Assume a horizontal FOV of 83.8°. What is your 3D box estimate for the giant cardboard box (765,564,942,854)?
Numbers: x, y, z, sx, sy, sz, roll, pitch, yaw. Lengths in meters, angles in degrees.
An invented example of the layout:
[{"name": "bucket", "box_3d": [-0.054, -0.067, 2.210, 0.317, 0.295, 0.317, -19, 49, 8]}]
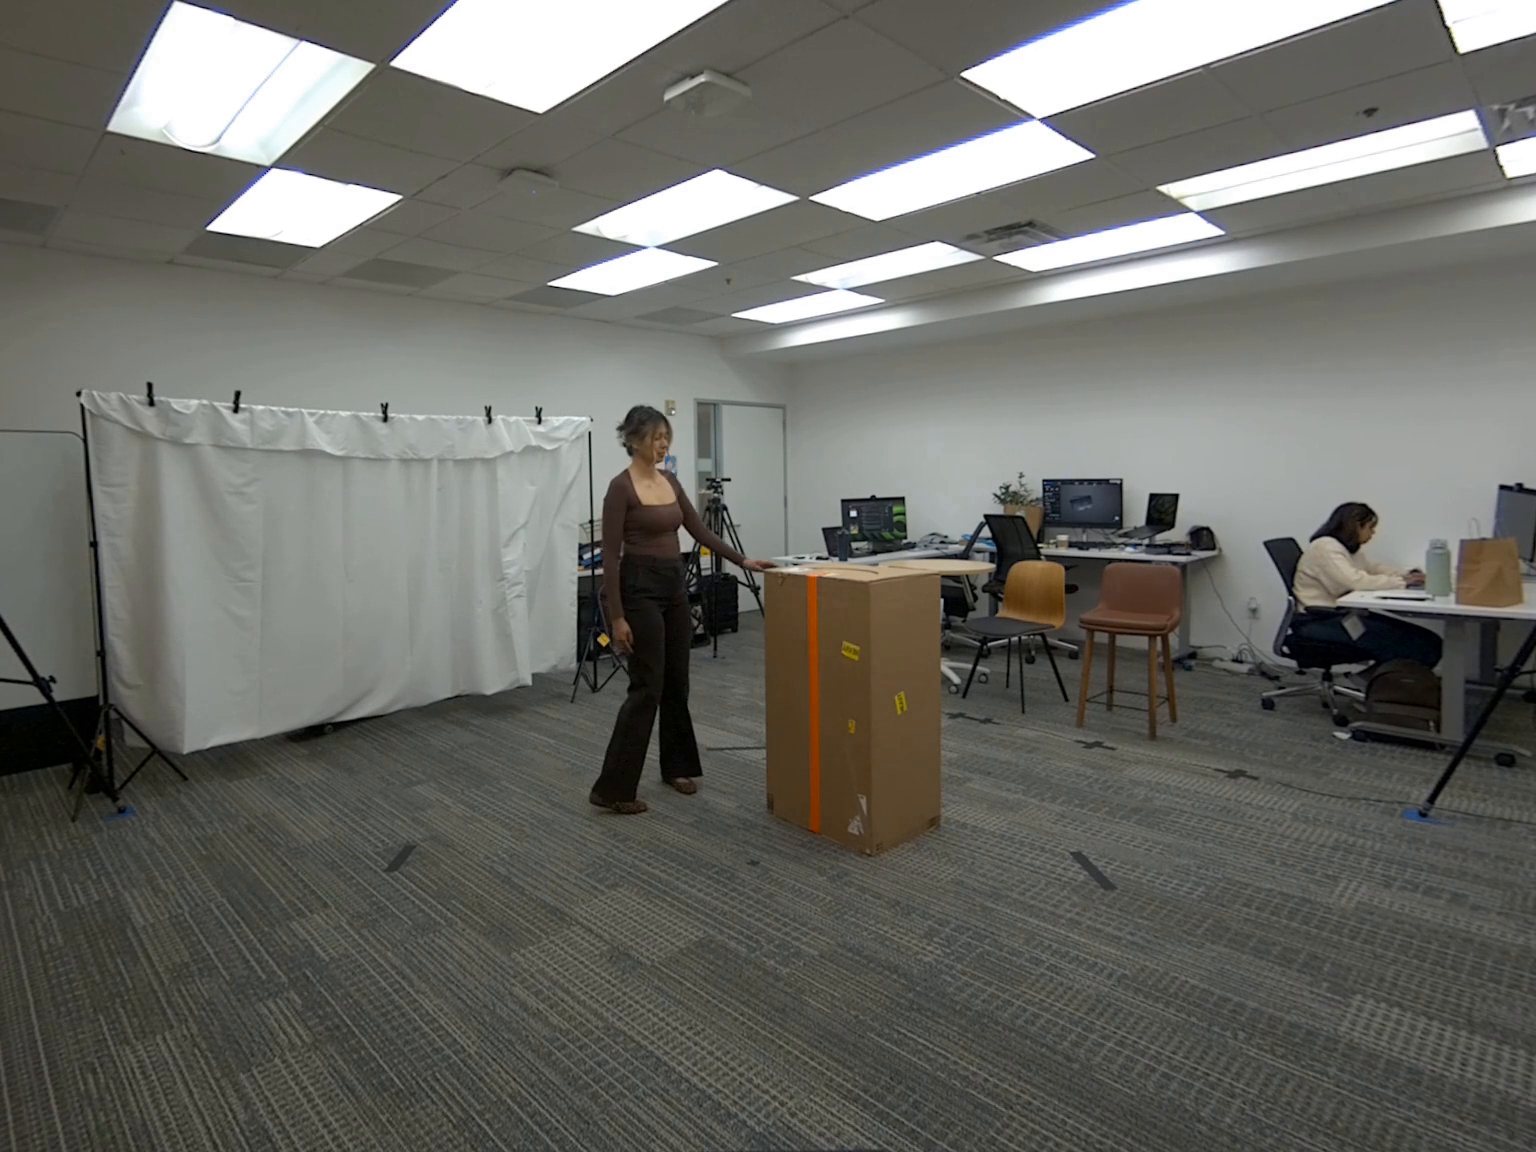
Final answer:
[{"name": "giant cardboard box", "box_3d": [0.335, 0.486, 3.455, 0.435, 1.023, 0.602, -5, 6, -39]}]
